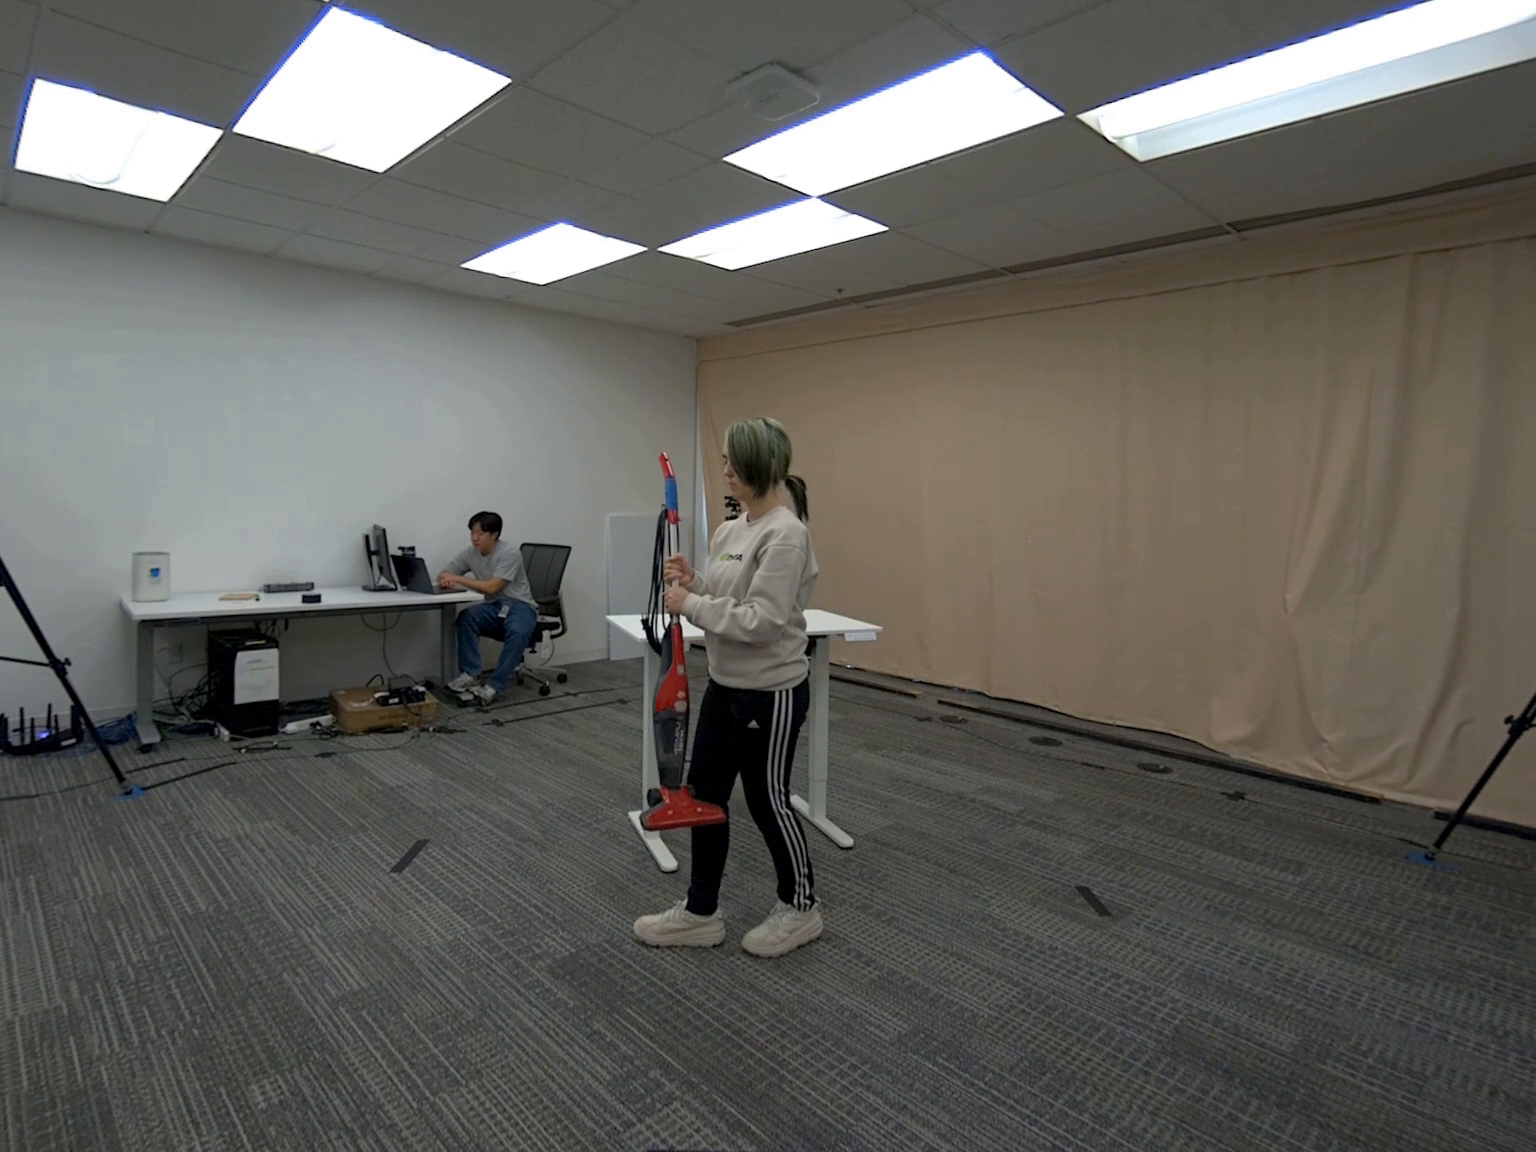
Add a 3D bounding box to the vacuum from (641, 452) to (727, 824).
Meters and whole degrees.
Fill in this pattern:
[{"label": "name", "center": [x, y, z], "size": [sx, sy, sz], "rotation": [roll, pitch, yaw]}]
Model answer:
[{"label": "vacuum", "center": [-0.293, 0.139, 2.484], "size": [0.146, 1.061, 0.246], "rotation": [-17, -17, 38]}]
